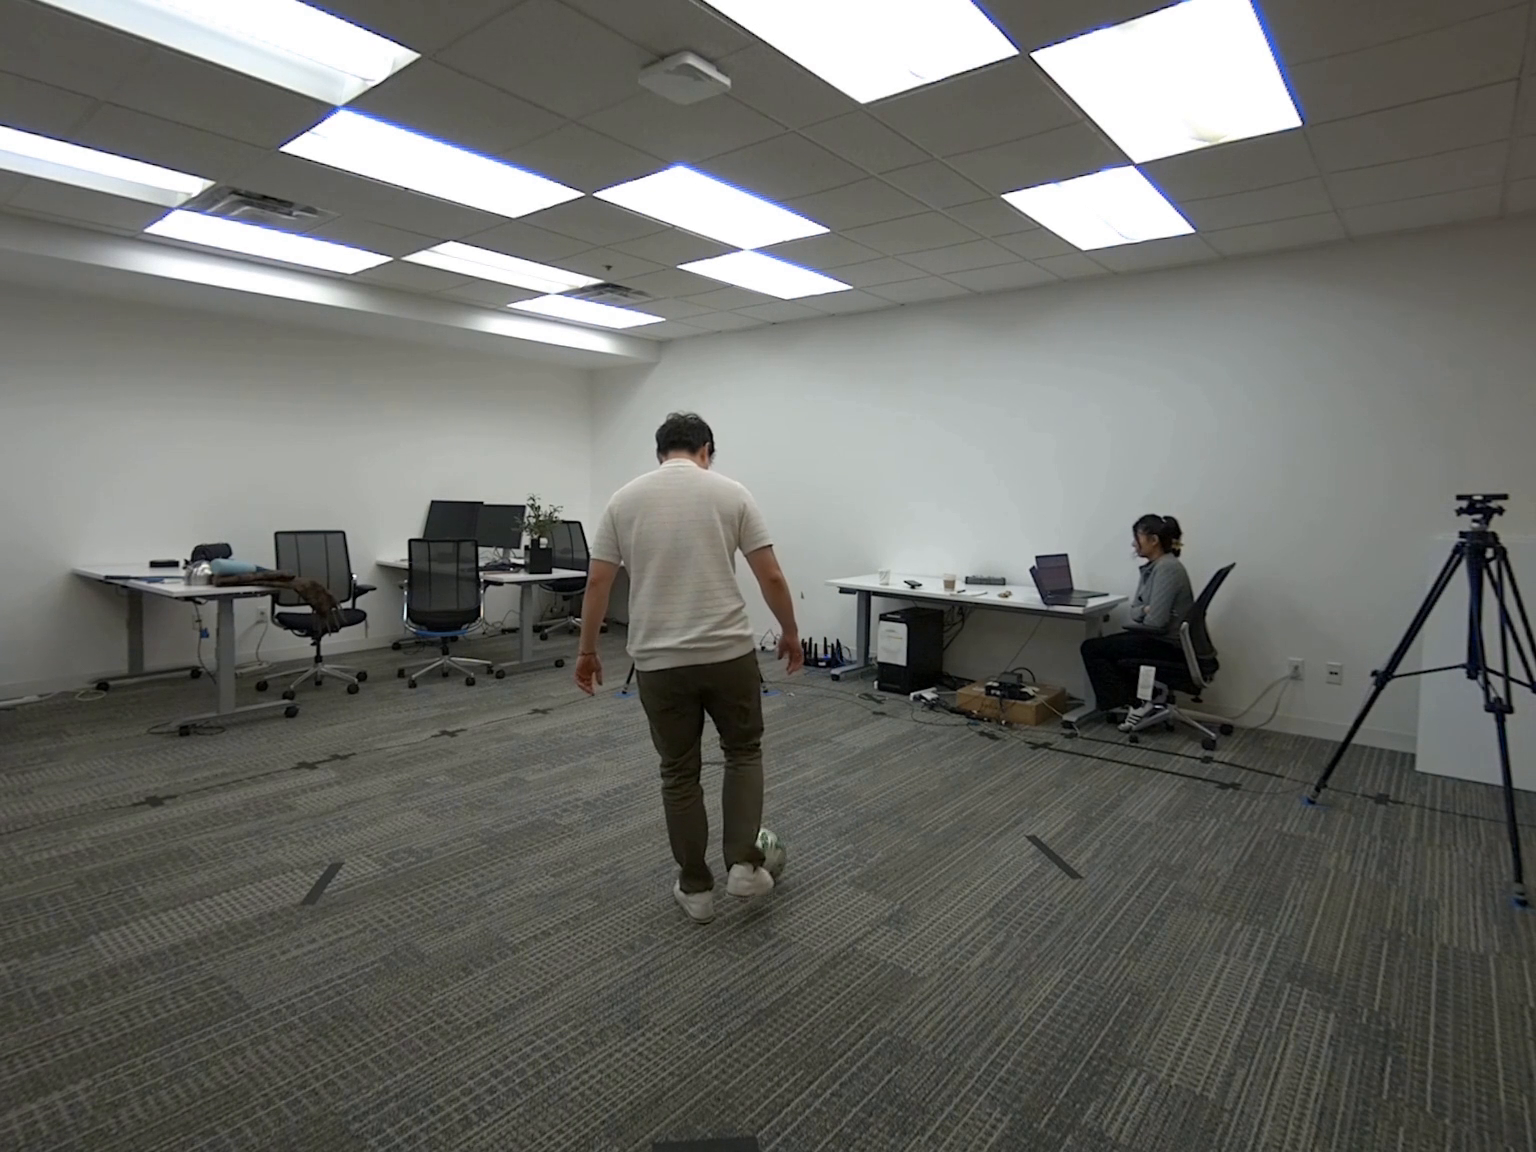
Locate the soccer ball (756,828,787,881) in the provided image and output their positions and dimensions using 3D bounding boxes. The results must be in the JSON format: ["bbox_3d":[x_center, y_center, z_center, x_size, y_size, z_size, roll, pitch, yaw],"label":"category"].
[{"bbox_3d":[-0.032,0.983,2.998,0.187,0.187,0.188,1,4,-2],"label":"soccer ball"}]
